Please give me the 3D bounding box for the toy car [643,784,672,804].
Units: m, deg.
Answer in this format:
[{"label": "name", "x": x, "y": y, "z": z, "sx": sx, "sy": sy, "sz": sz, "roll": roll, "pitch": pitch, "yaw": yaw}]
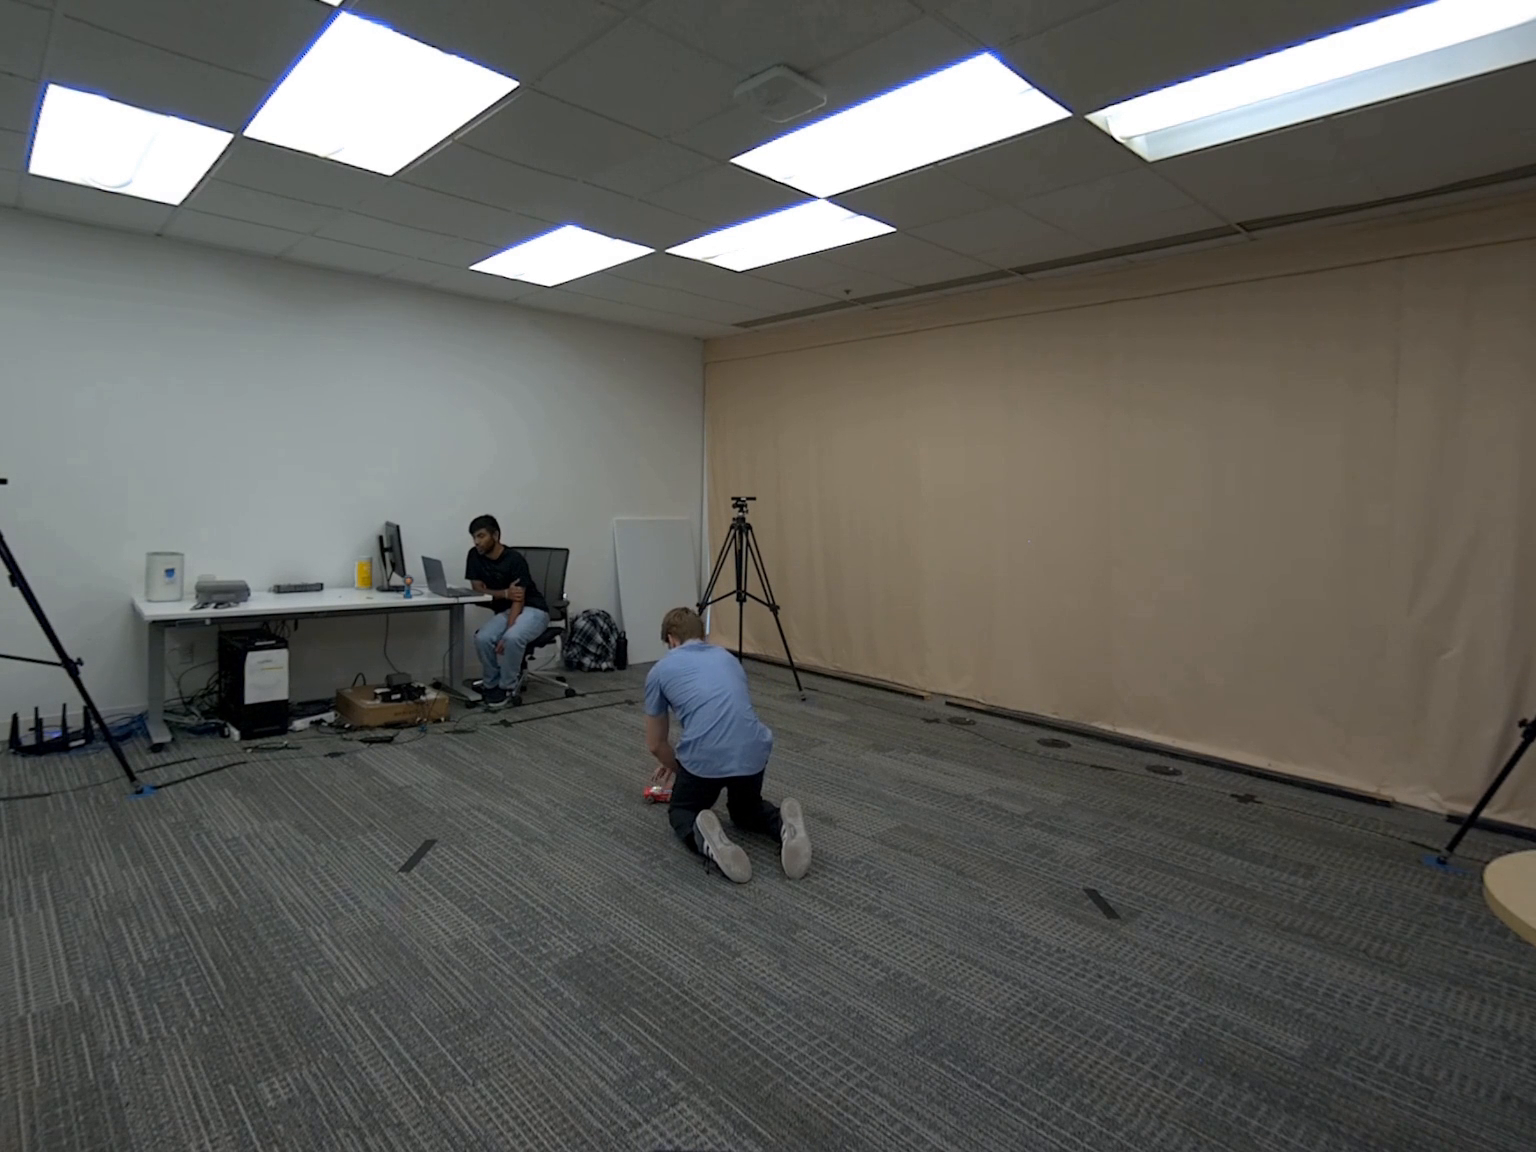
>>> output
[{"label": "toy car", "x": -0.454, "y": 1.003, "z": 3.868, "sx": 0.255, "sy": 0.083, "sz": 0.130, "roll": -8, "pitch": 3, "yaw": 3}]
